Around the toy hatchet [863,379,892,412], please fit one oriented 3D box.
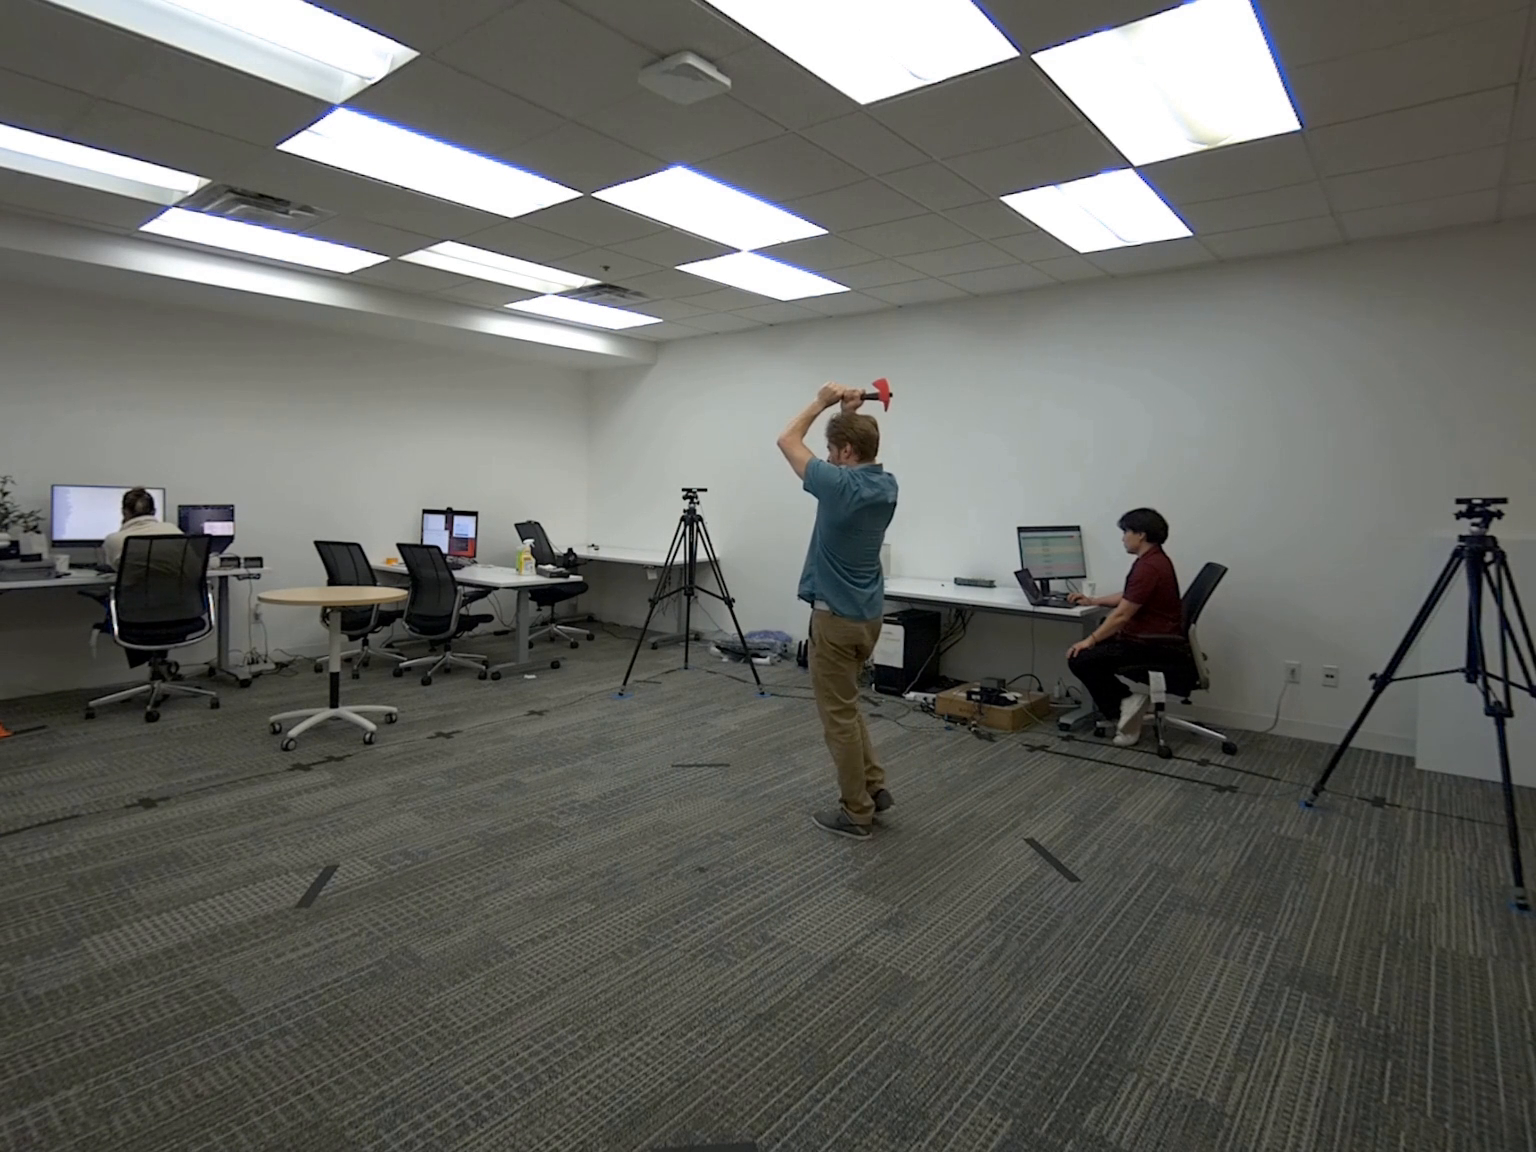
[{"bbox_3d":[0.369,-0.772,3.478,0.276,0.129,0.029,21,21,16],"label":"toy hatchet"}]
